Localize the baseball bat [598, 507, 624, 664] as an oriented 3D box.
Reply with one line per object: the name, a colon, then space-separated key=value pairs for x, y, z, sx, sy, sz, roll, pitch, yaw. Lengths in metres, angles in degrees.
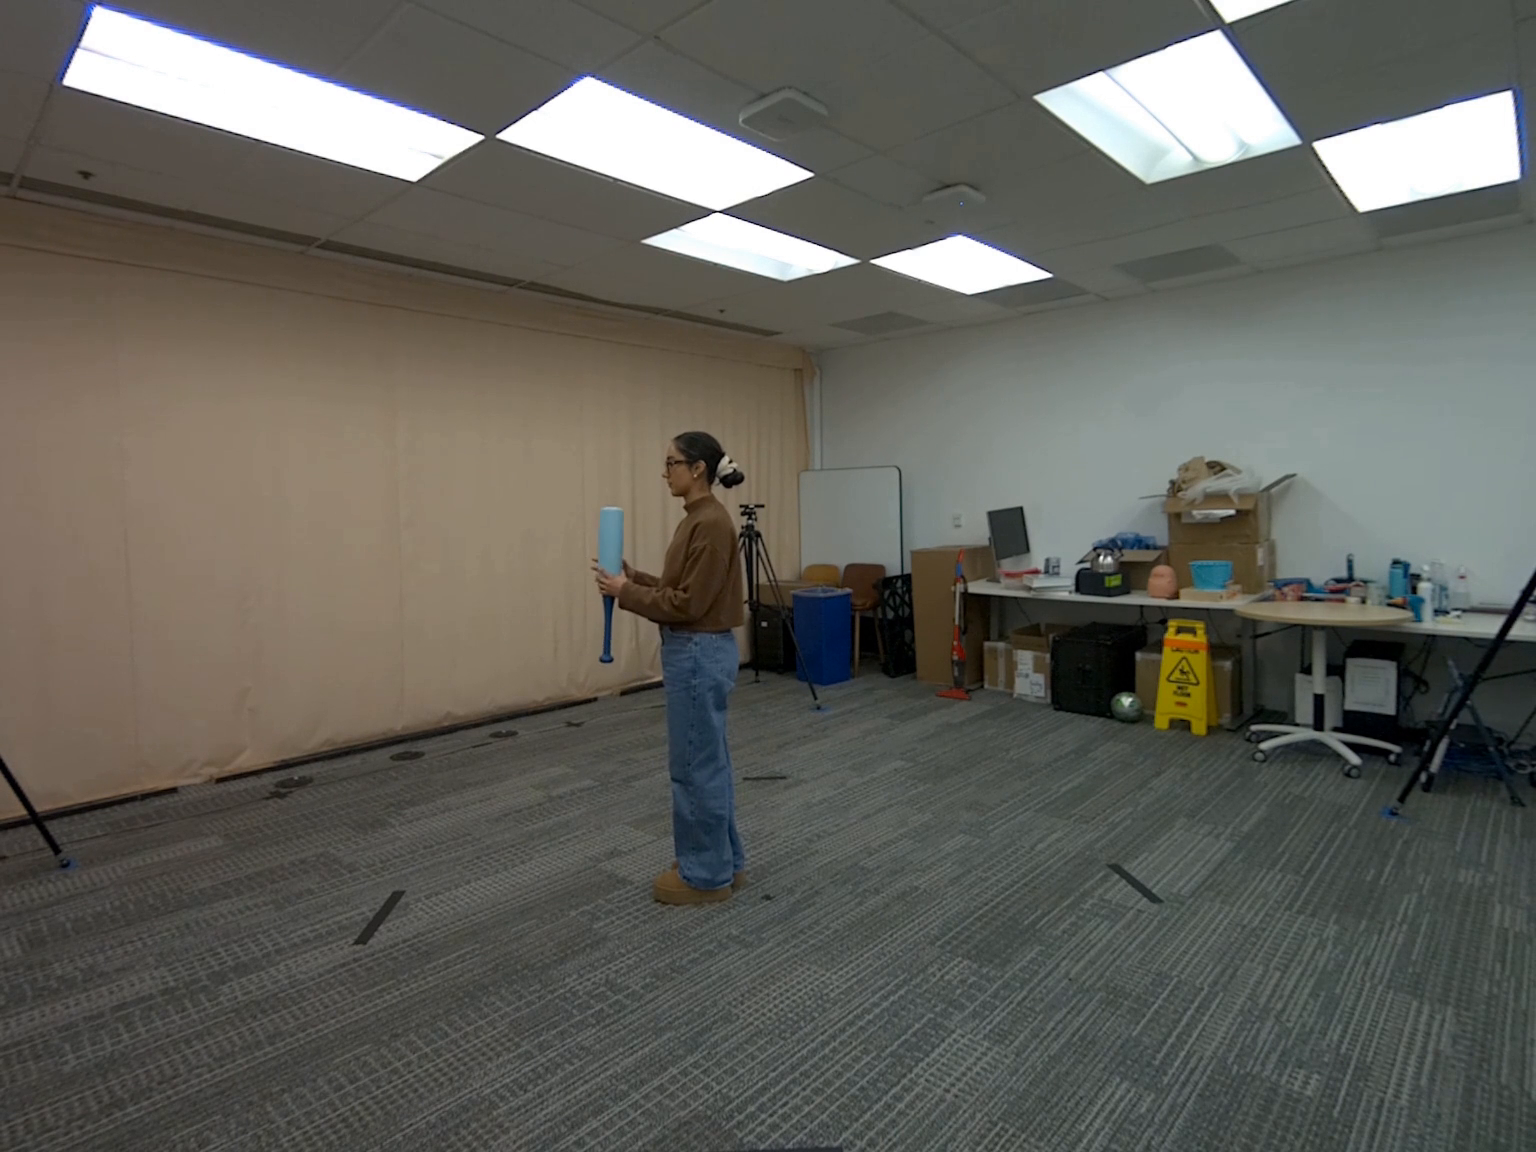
baseball bat: x=-0.556 y=0.043 z=2.934 sx=0.089 sy=0.544 sz=0.089 roll=2 pitch=-2 yaw=-2
